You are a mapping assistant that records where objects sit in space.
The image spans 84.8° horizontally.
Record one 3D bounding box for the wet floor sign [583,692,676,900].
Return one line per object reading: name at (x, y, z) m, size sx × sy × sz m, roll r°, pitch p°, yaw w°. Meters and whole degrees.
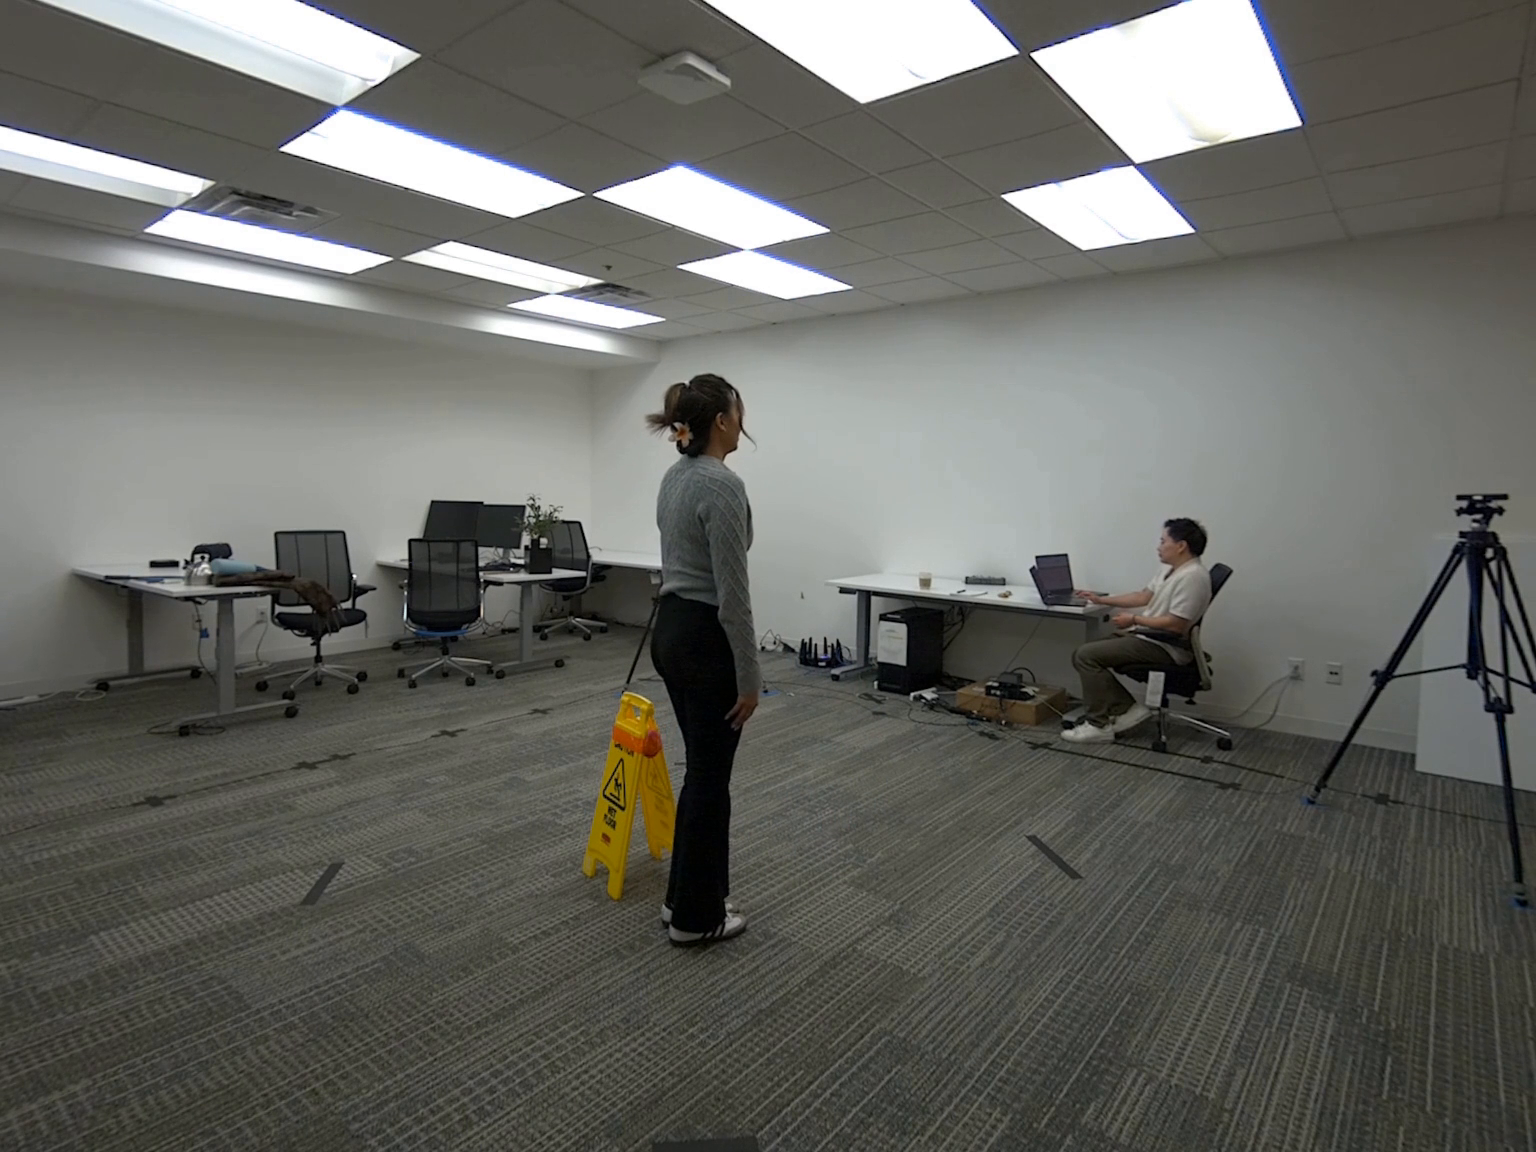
wet floor sign at (-0.477, 0.745, 3.026) m, size 0.281 × 0.644 × 0.291 m, roll -1°, pitch 4°, yaw -36°
